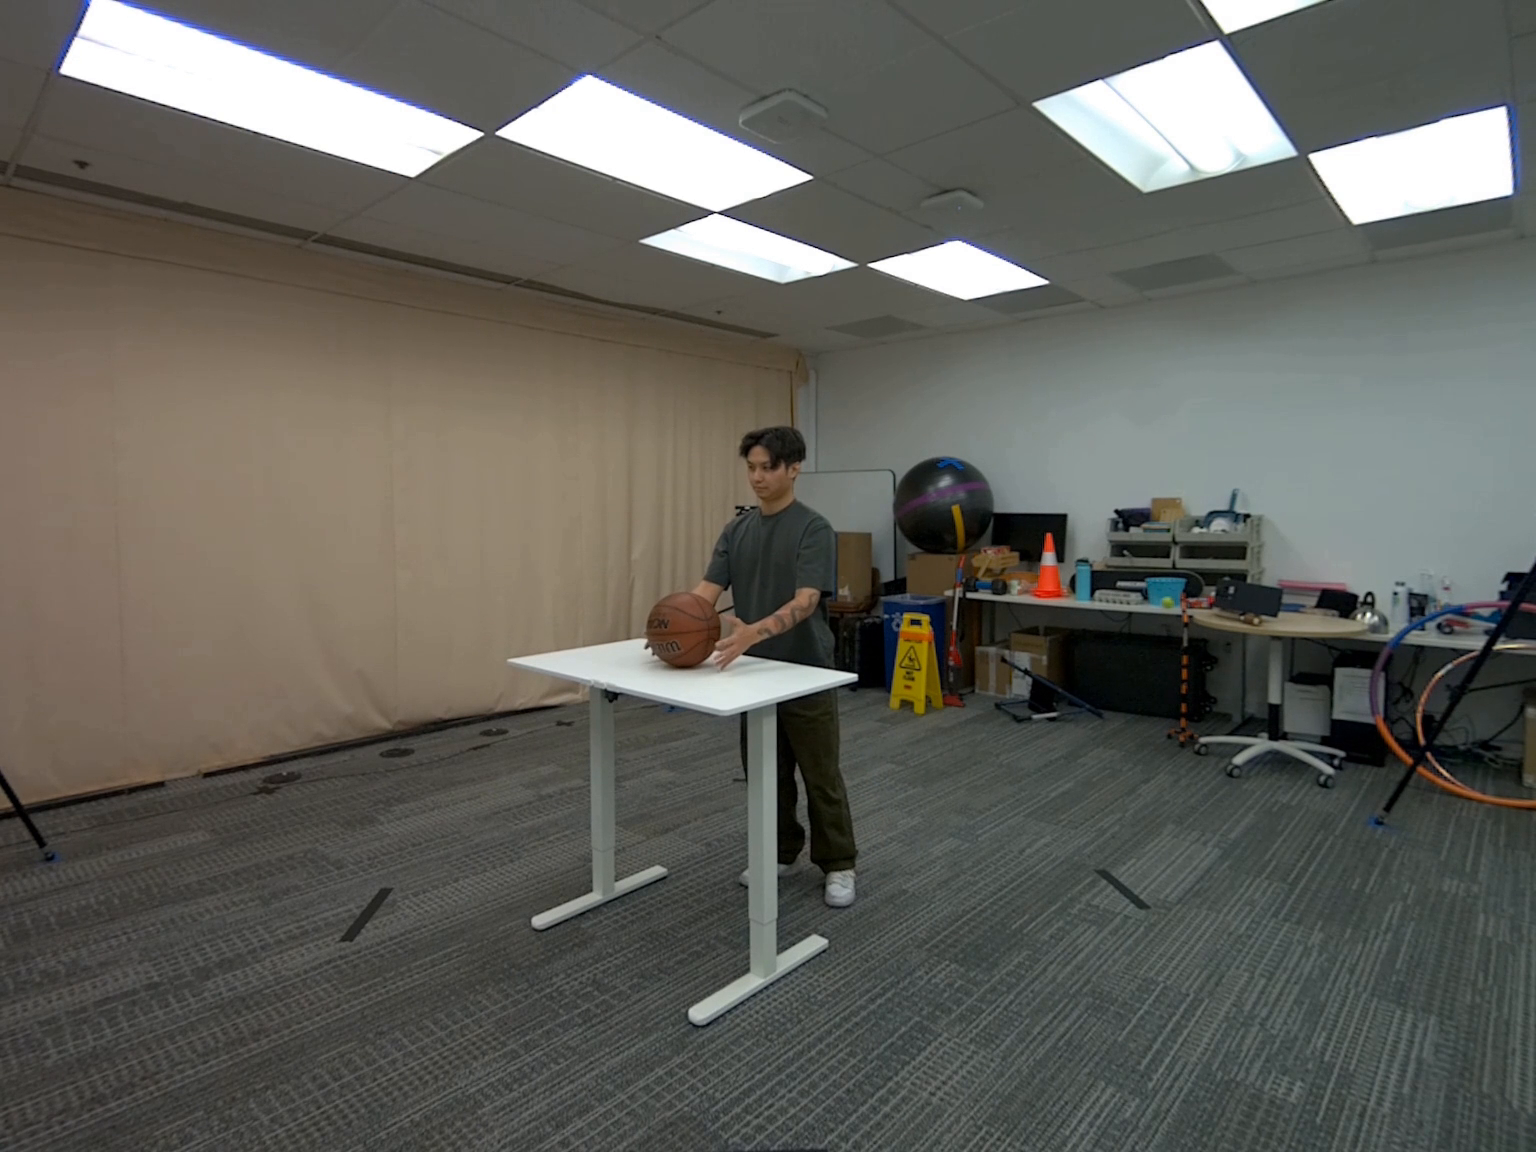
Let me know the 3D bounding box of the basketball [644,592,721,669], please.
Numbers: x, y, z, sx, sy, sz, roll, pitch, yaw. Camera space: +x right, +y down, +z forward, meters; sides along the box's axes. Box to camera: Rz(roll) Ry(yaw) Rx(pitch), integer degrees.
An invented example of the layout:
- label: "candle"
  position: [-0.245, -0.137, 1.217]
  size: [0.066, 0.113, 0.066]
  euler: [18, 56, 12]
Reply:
- label: "basketball"
  position: [-0.264, 0.170, 2.689]
  size: [0.236, 0.235, 0.237]
  euler: [0, 4, -2]
